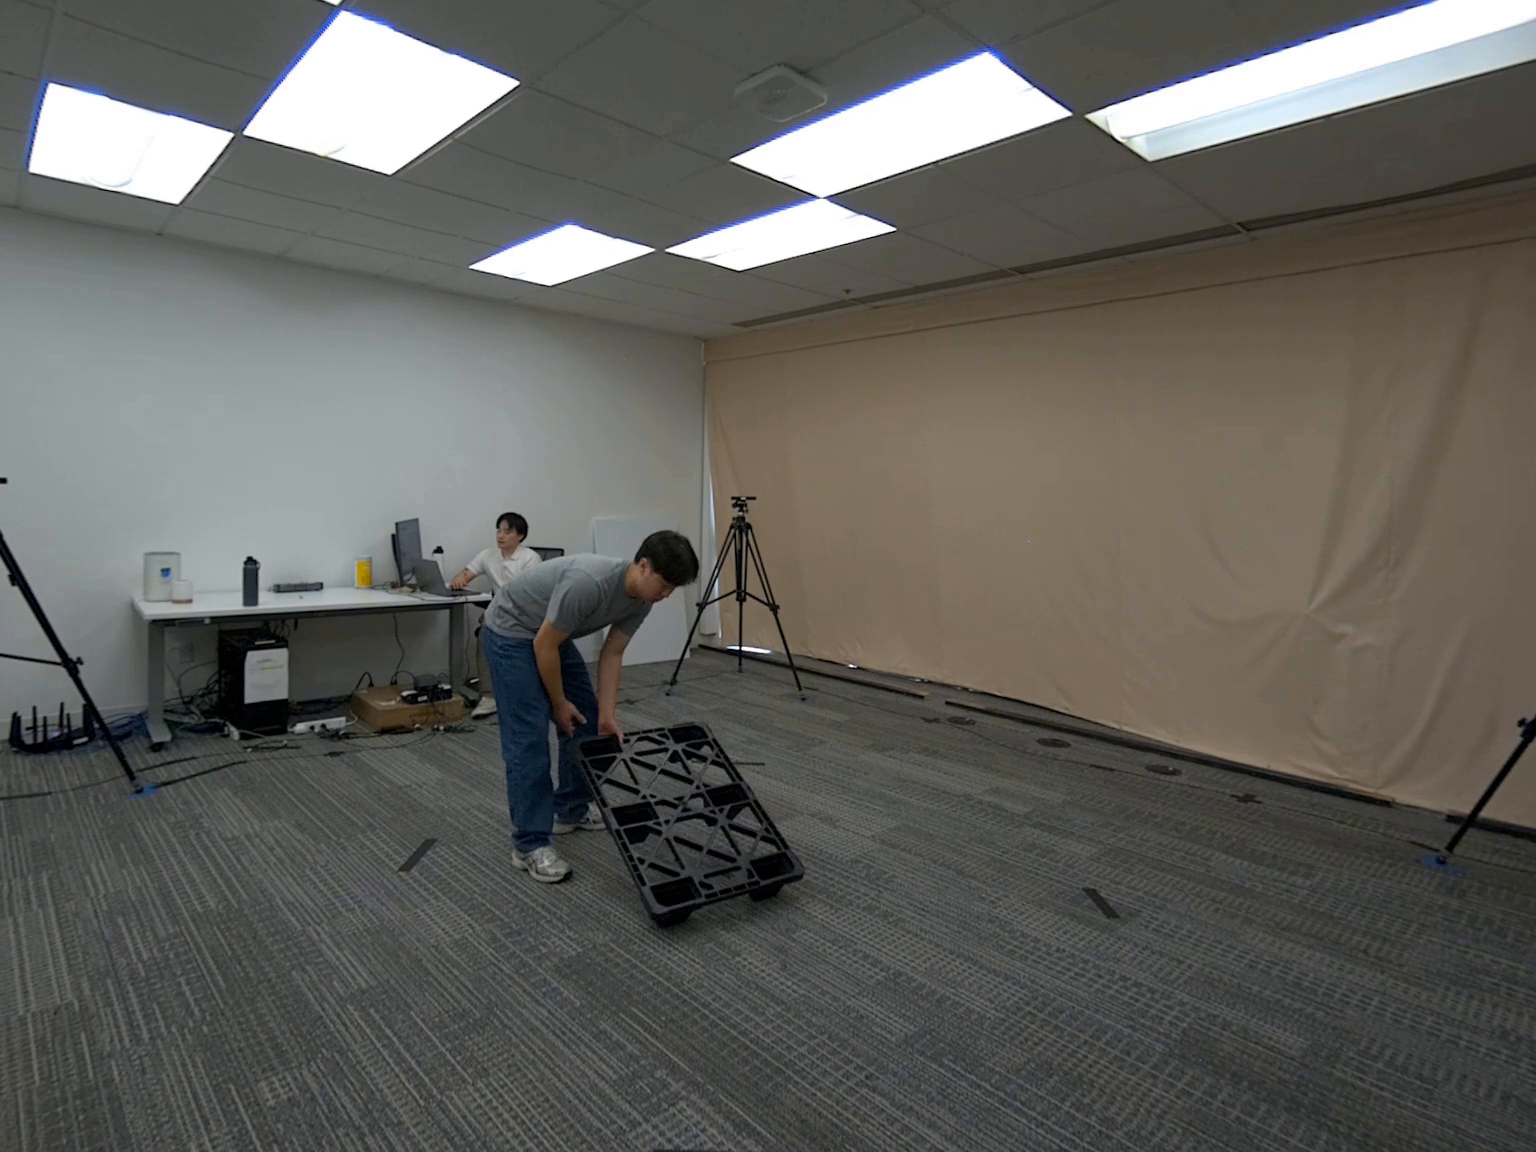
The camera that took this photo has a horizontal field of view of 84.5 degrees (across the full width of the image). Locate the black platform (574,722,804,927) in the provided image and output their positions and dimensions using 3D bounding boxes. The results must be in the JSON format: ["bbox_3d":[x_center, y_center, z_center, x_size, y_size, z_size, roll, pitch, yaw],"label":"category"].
[{"bbox_3d":[-0.337,0.881,3.077,0.592,0.142,0.832,-1,32,-34],"label":"black platform"}]
